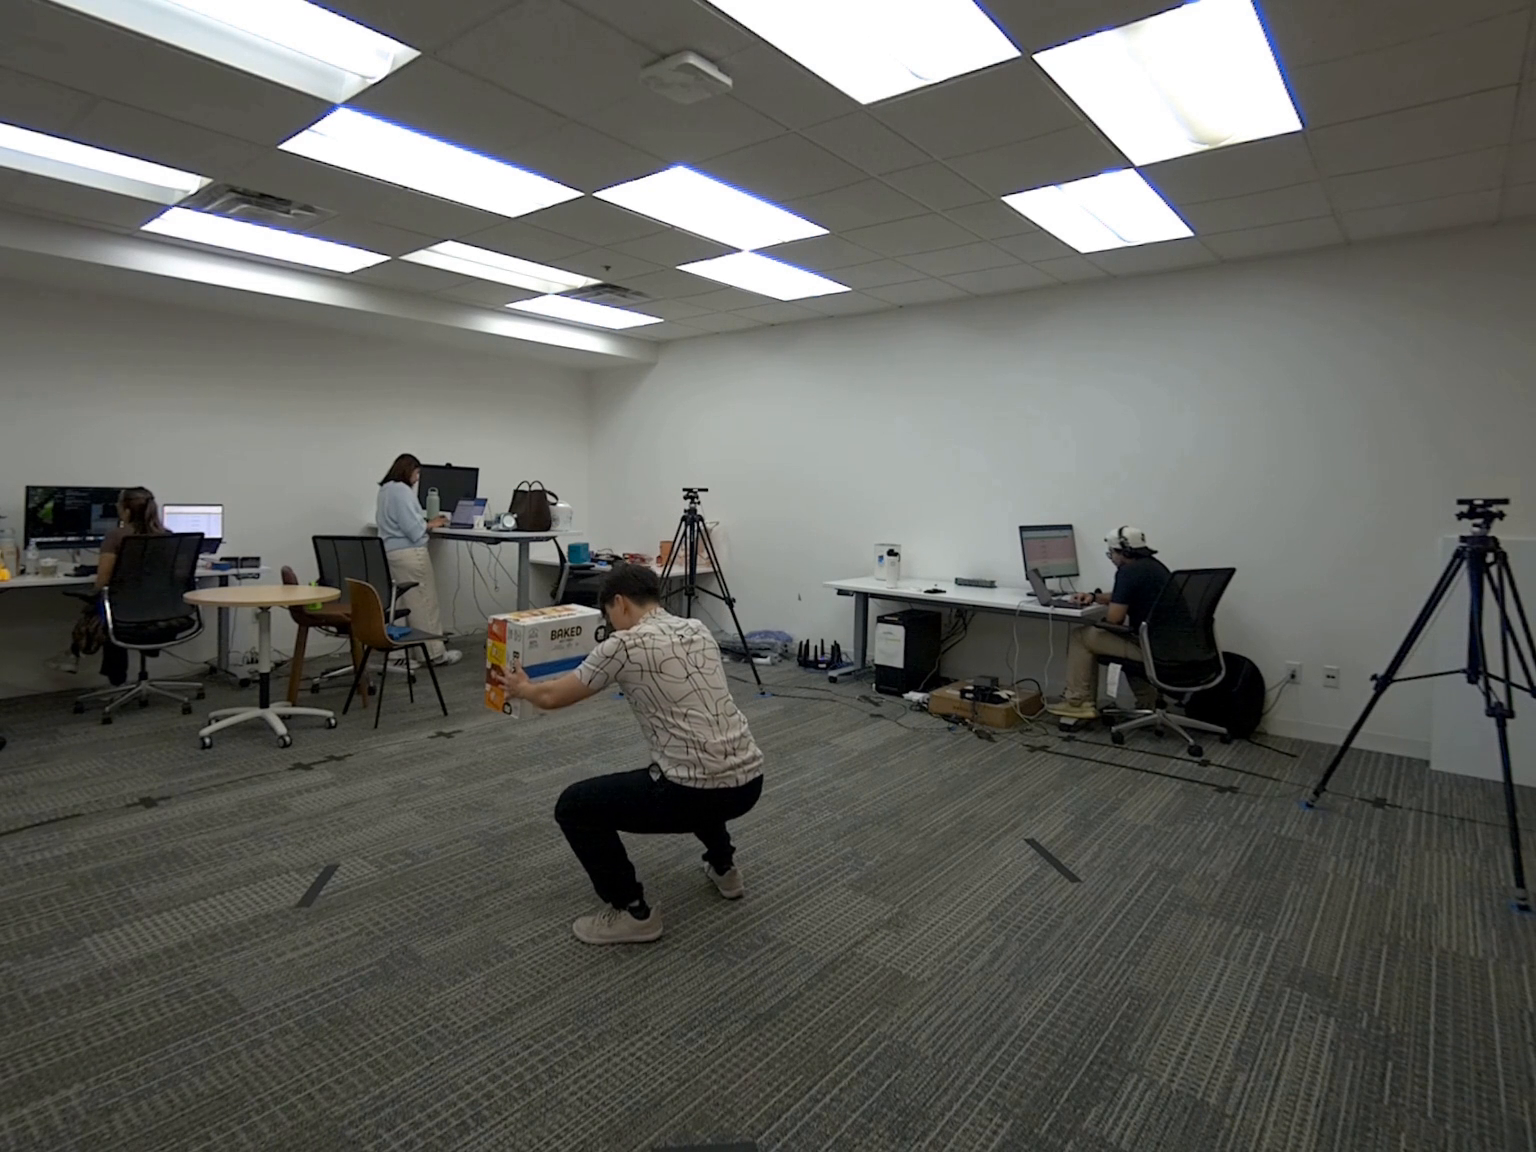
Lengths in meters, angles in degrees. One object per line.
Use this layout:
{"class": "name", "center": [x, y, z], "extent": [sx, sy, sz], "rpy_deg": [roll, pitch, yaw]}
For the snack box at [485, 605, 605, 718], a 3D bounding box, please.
{"class": "snack box", "center": [-0.847, 0.304, 3.205], "extent": [0.213, 0.338, 0.394], "rpy_deg": [9, 9, 36]}
